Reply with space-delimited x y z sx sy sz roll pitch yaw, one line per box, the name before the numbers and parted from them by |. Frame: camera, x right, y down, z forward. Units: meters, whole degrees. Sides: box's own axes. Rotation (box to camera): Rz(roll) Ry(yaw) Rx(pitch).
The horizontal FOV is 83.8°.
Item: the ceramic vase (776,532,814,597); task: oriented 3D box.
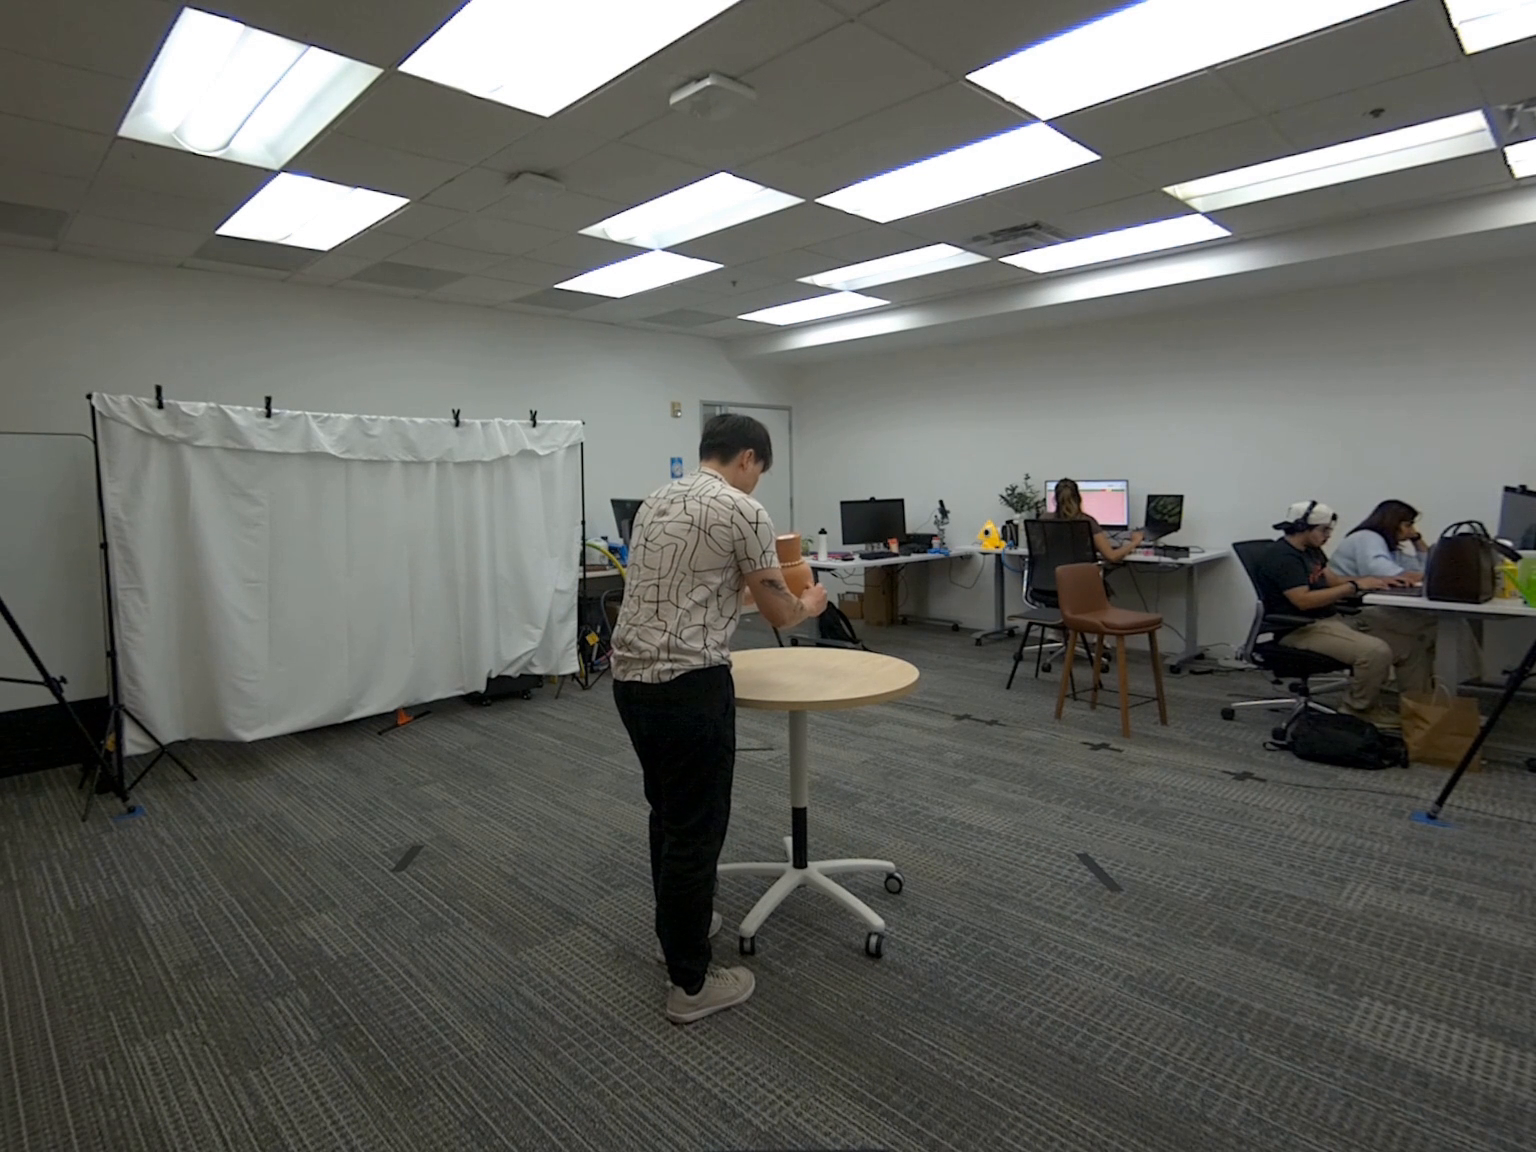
ceramic vase | 0.068 -0.015 2.682 0.160 0.218 0.134 -7 8 12
